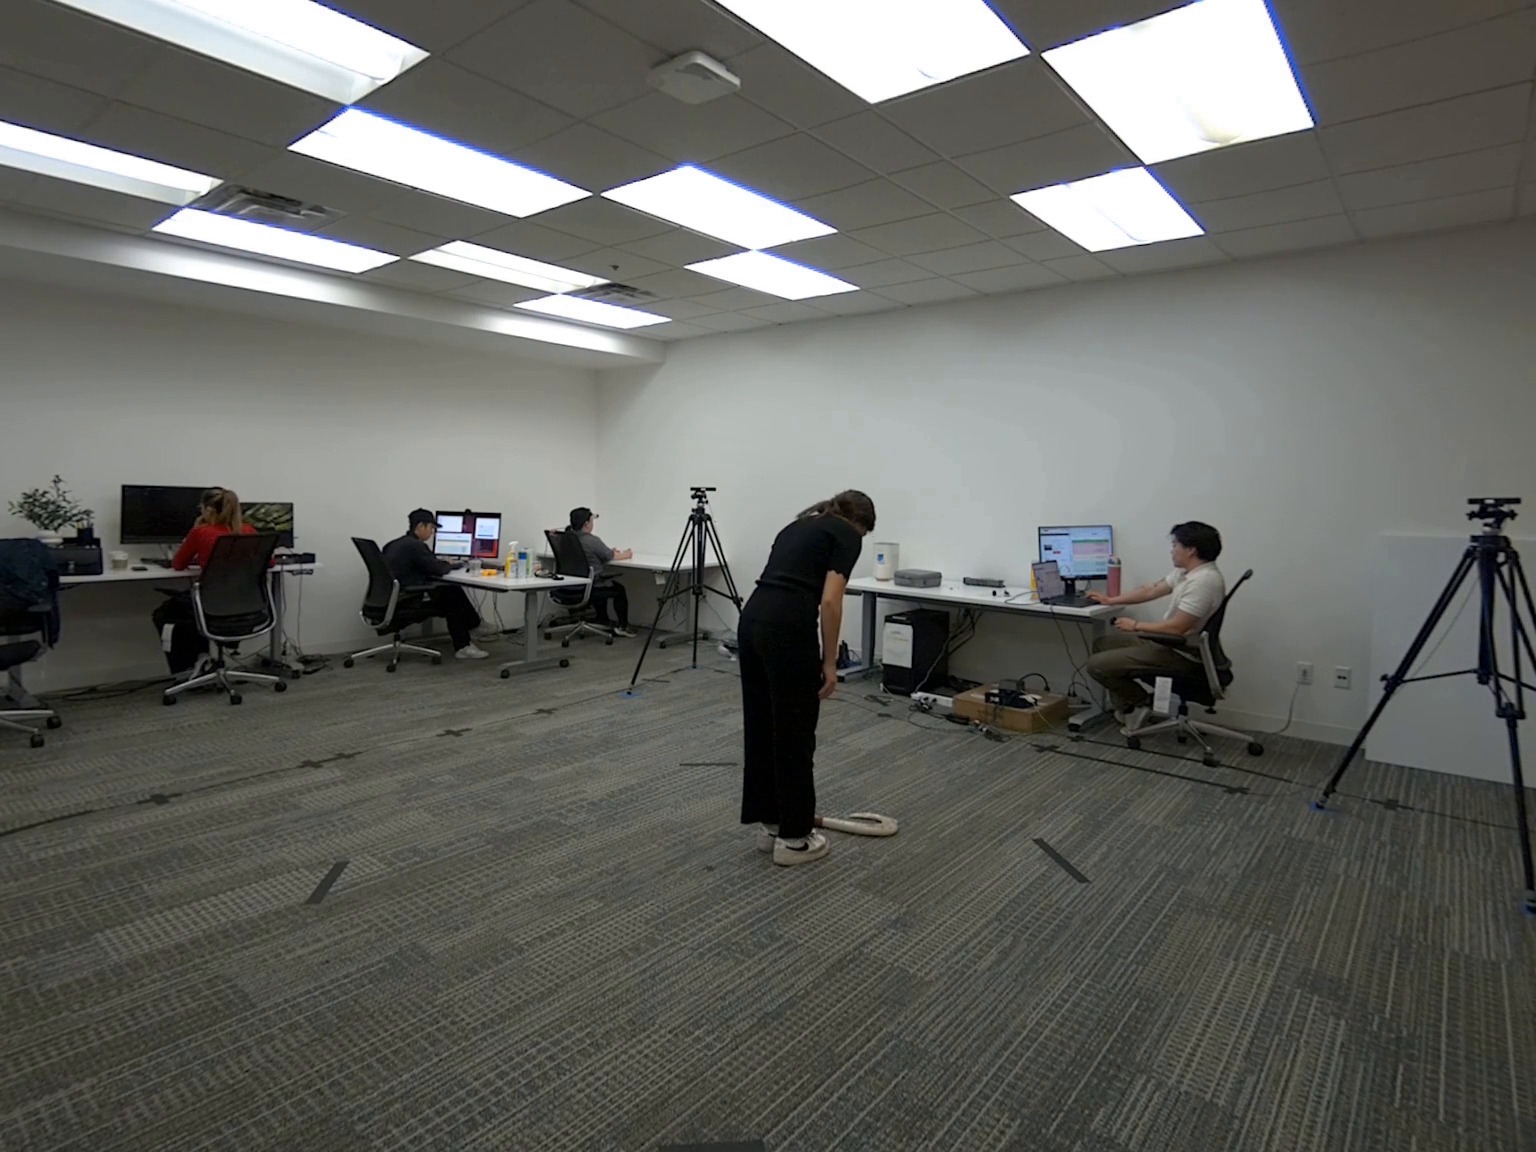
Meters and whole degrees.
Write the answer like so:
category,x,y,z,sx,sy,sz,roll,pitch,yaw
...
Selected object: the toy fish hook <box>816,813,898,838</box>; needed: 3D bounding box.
category,x,y,z,sx,sy,sz,roll,pitch,yaw
toy fish hook,0.270,1.014,3.550,0.512,0.048,0.221,3,-1,10
